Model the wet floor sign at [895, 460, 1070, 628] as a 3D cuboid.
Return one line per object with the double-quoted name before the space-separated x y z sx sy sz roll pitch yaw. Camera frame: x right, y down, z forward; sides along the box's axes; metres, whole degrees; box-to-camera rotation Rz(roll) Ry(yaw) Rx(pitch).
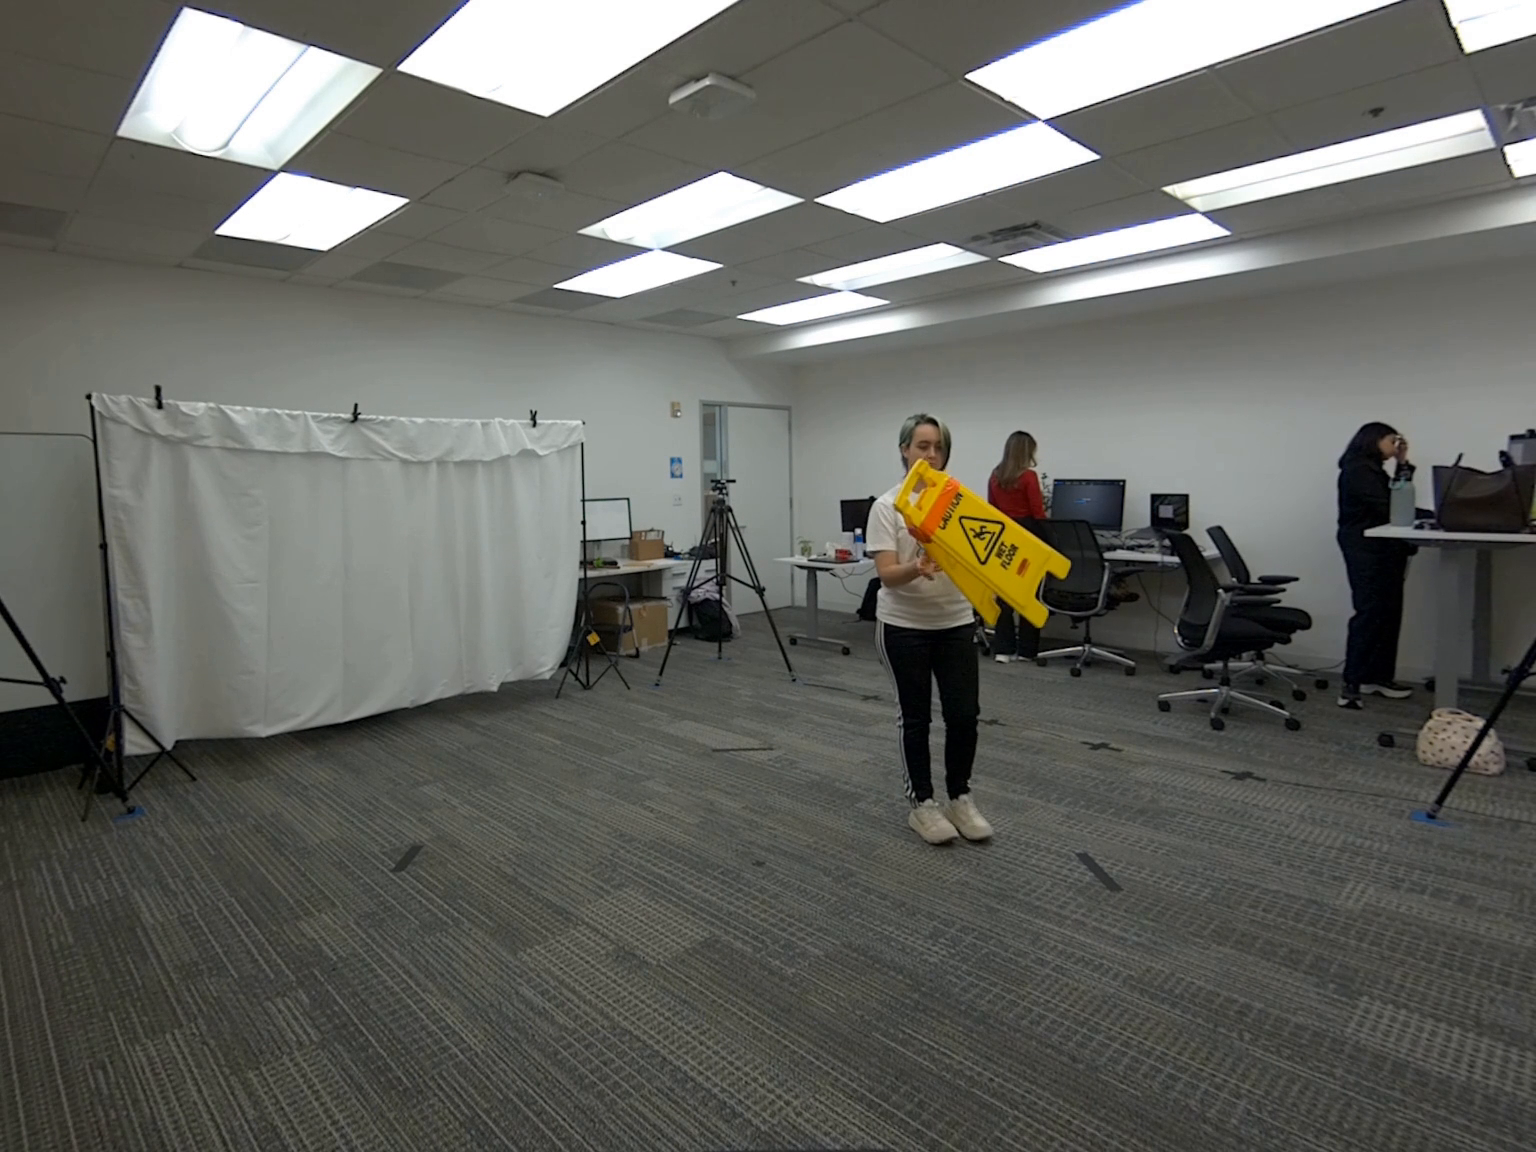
"wet floor sign" 0.690 -0.121 2.914 0.631 0.283 0.295 40 -21 -19
